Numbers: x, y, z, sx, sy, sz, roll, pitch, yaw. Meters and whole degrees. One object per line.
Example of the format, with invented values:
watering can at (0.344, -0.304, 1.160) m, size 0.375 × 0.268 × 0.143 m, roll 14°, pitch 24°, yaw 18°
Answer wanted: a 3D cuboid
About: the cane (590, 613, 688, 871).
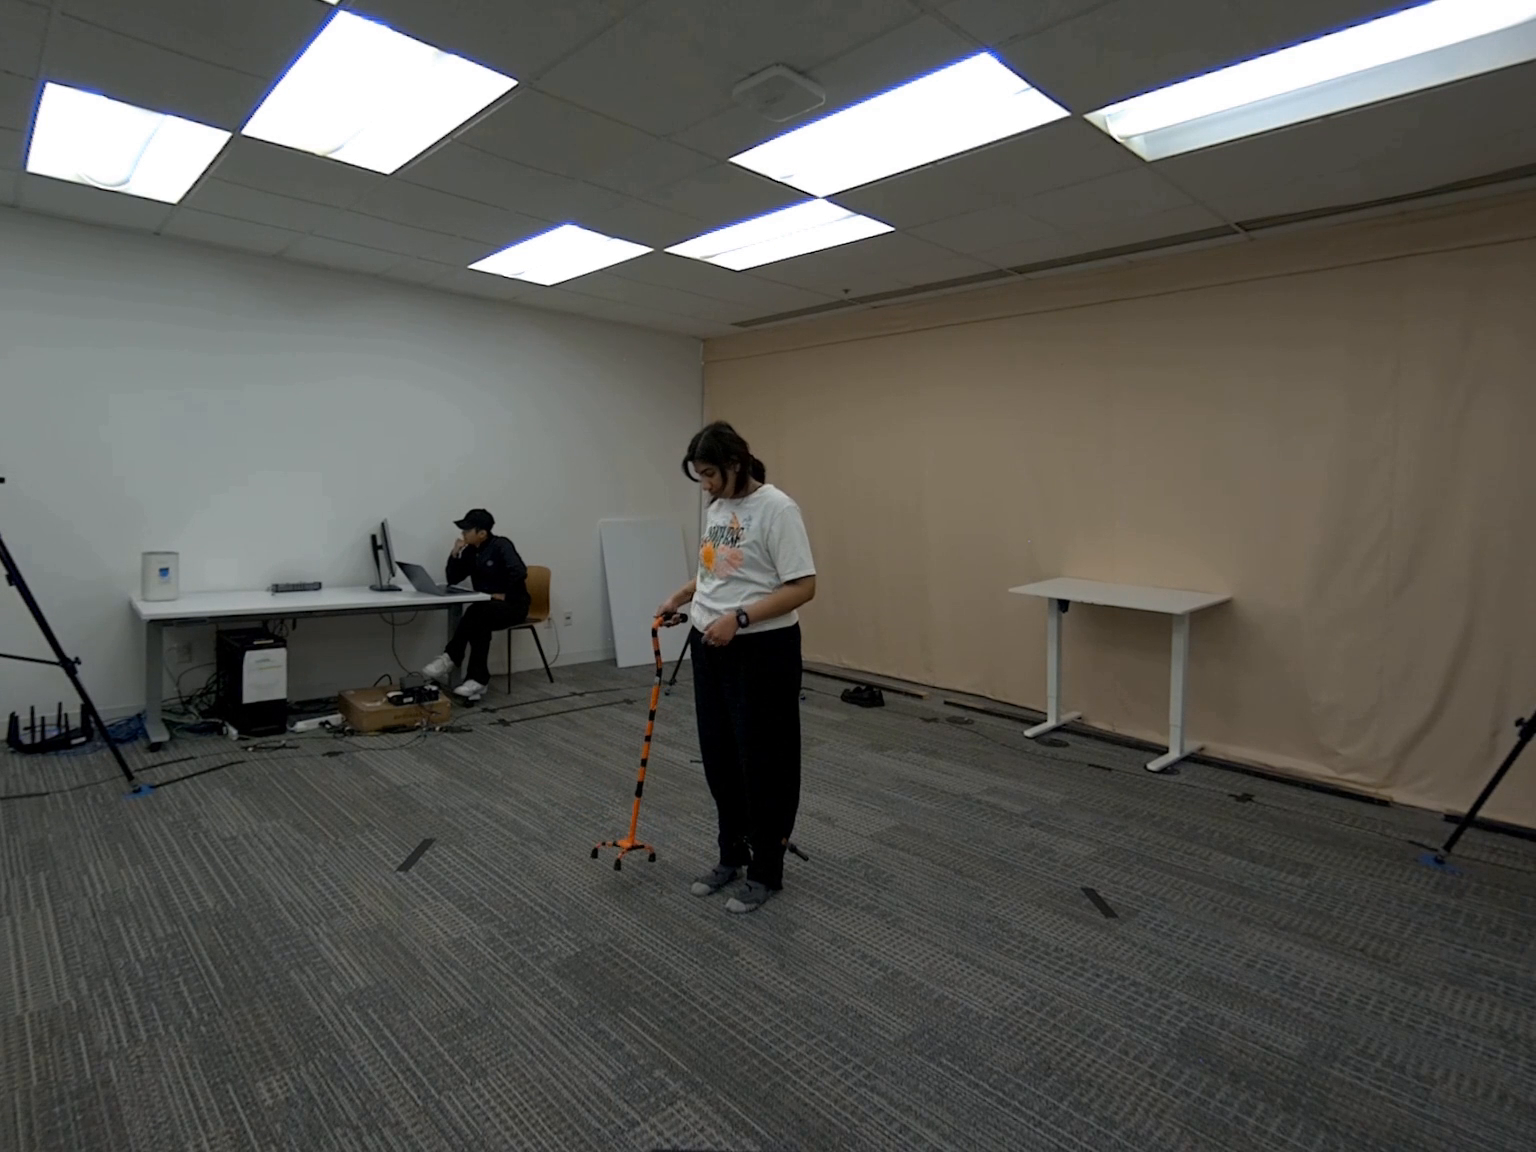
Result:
cane at (-0.446, 0.582, 3.075) m, size 0.155 × 0.908 × 0.201 m, roll 8°, pitch -1°, yaw 40°
